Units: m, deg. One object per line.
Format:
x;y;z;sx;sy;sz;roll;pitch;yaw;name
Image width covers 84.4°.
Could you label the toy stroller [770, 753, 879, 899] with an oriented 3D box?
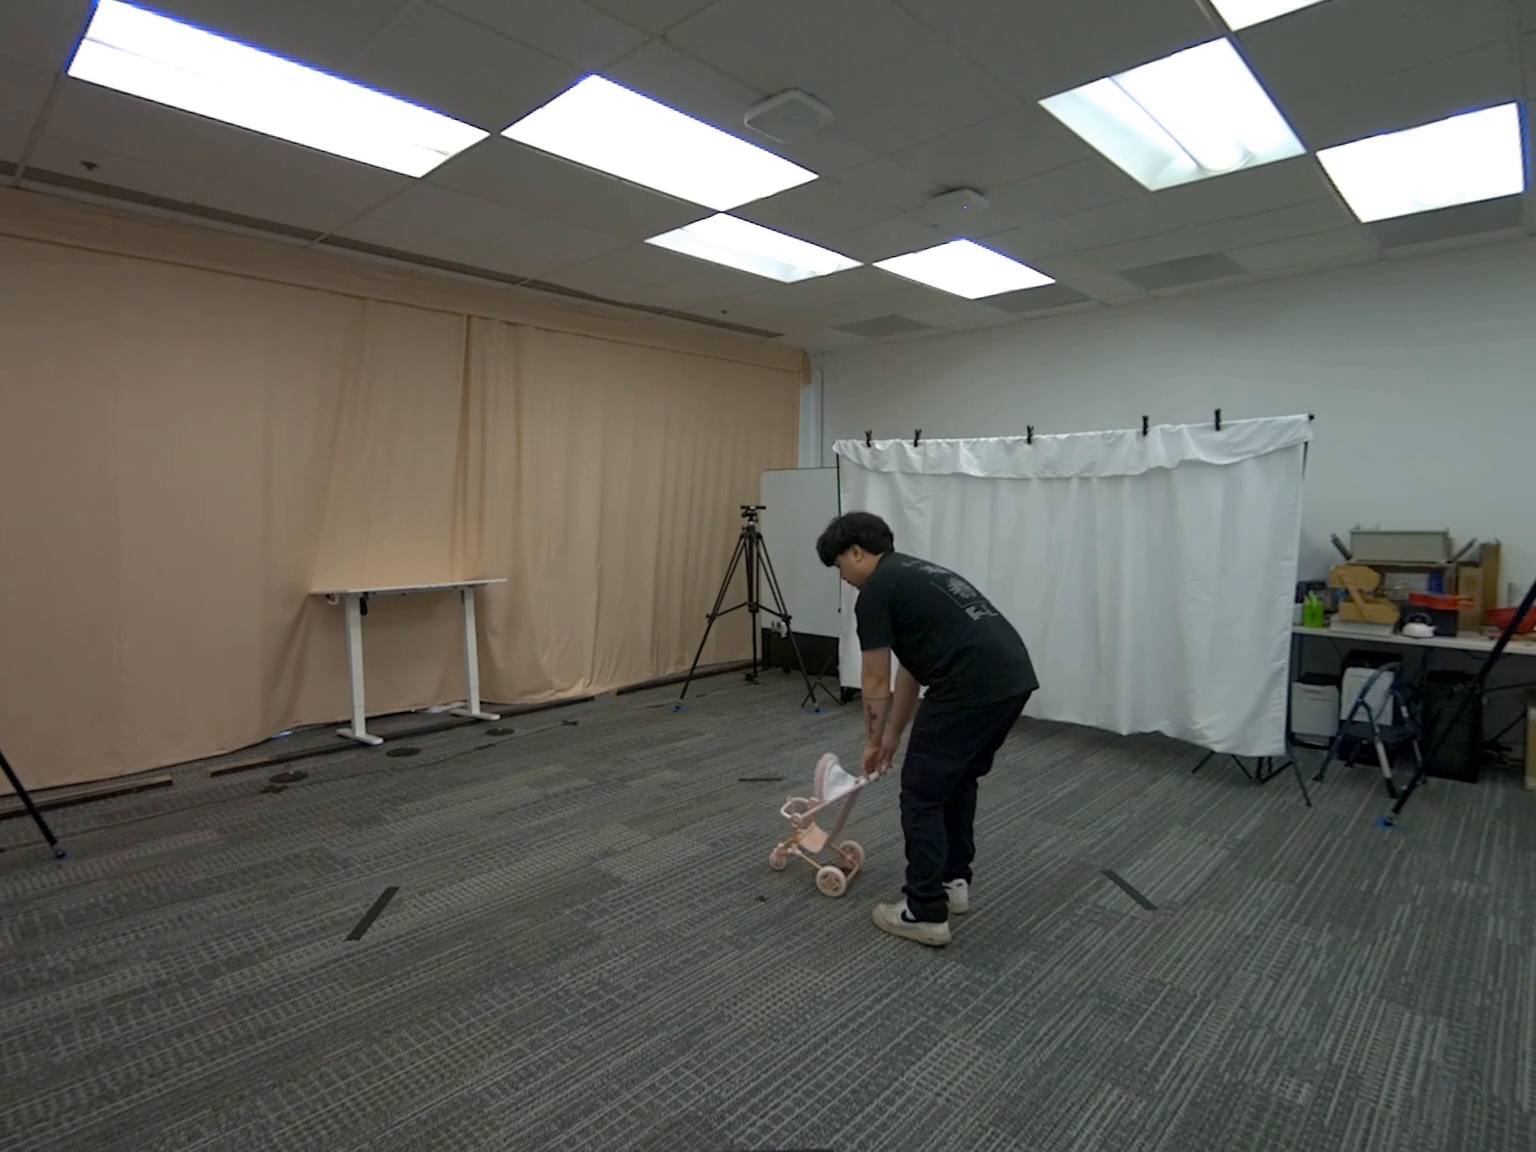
0.213;0.903;3.135;0.352;0.533;0.274;18;10;28;toy stroller
